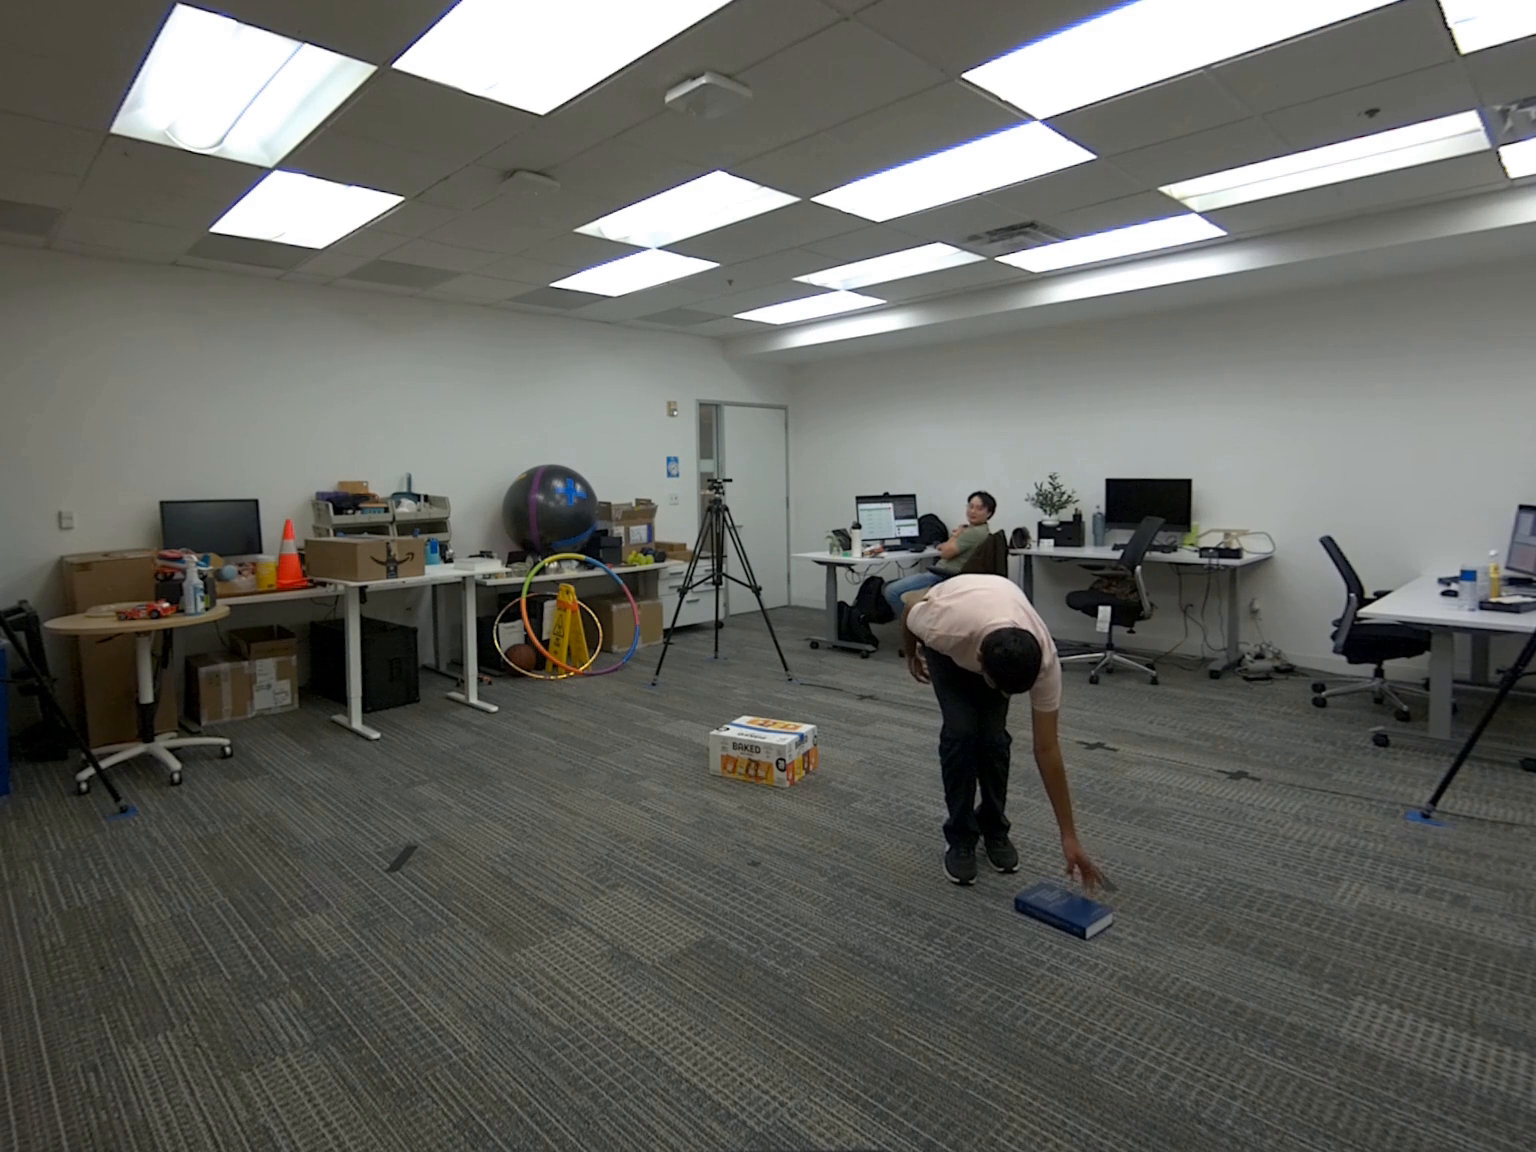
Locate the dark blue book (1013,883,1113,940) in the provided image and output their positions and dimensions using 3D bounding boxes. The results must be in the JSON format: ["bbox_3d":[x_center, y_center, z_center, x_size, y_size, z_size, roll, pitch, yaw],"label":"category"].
[{"bbox_3d":[0.934,1.057,2.692,0.159,0.045,0.252,-6,7,-39],"label":"dark blue book"}]
